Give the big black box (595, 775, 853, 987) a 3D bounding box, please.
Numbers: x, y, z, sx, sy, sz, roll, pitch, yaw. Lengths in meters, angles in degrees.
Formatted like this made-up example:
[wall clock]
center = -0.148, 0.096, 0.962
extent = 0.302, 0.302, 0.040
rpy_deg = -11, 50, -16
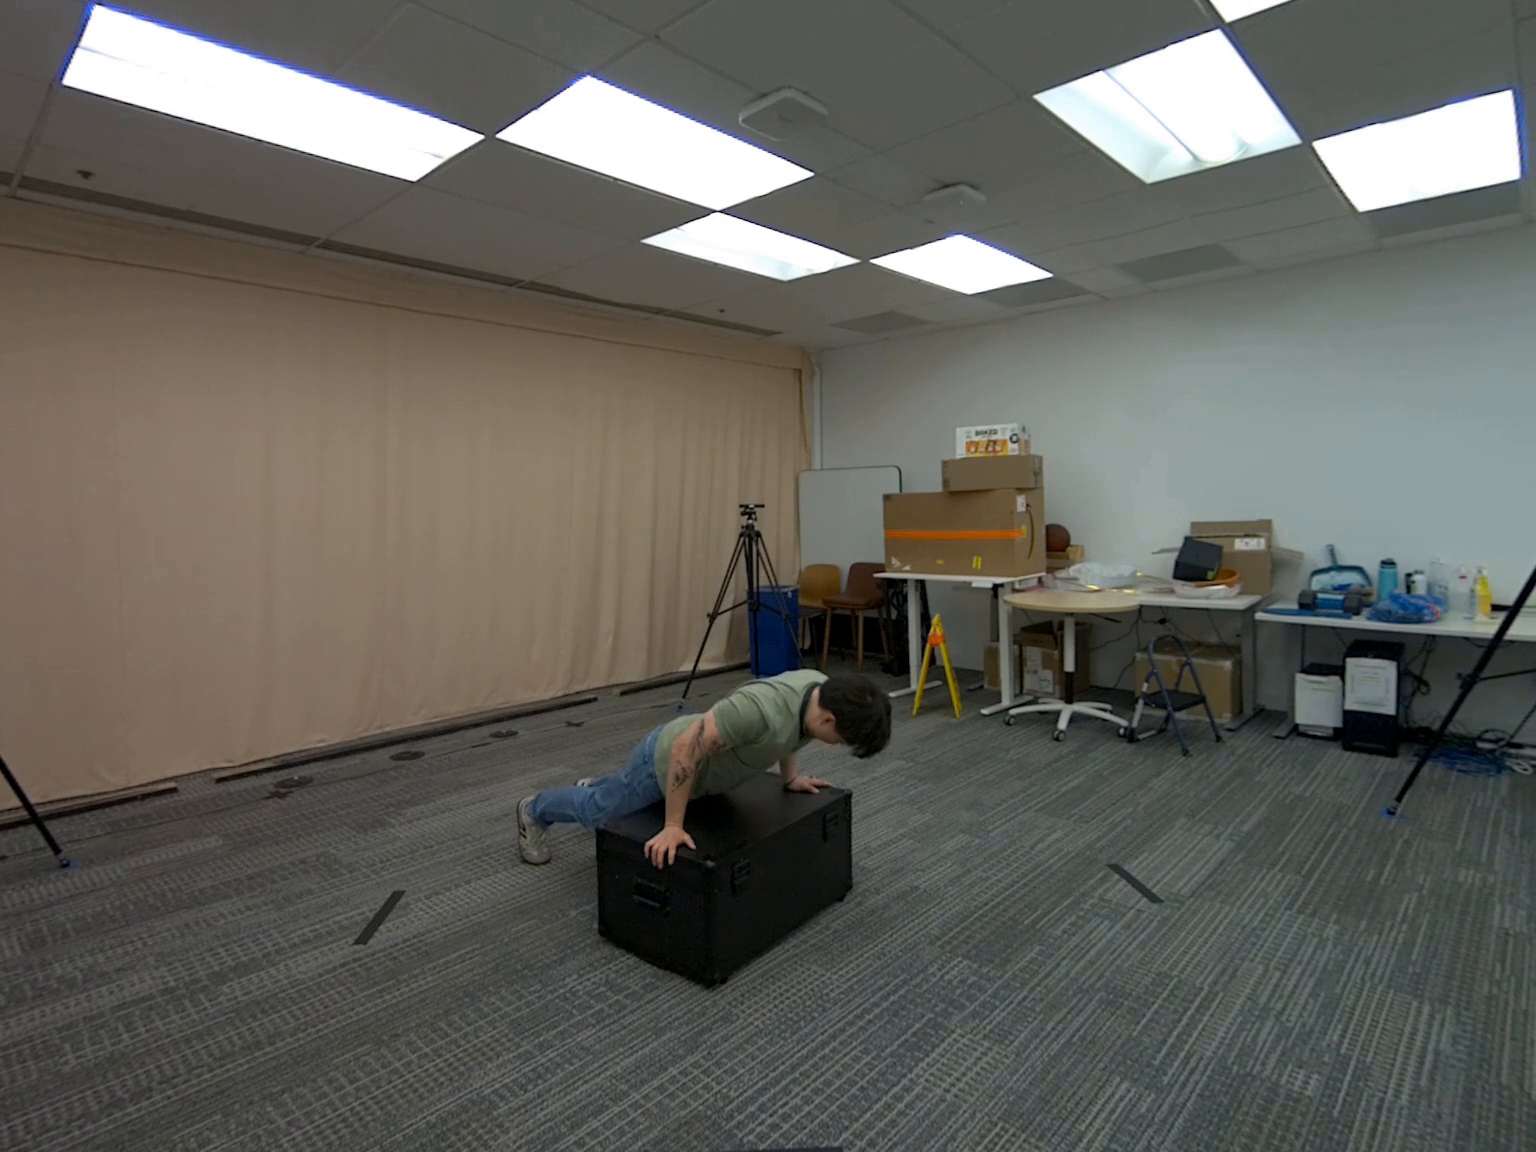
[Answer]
[big black box]
center = -0.095, 0.966, 2.861
extent = 0.538, 0.395, 0.837
rpy_deg = 2, 7, 37
